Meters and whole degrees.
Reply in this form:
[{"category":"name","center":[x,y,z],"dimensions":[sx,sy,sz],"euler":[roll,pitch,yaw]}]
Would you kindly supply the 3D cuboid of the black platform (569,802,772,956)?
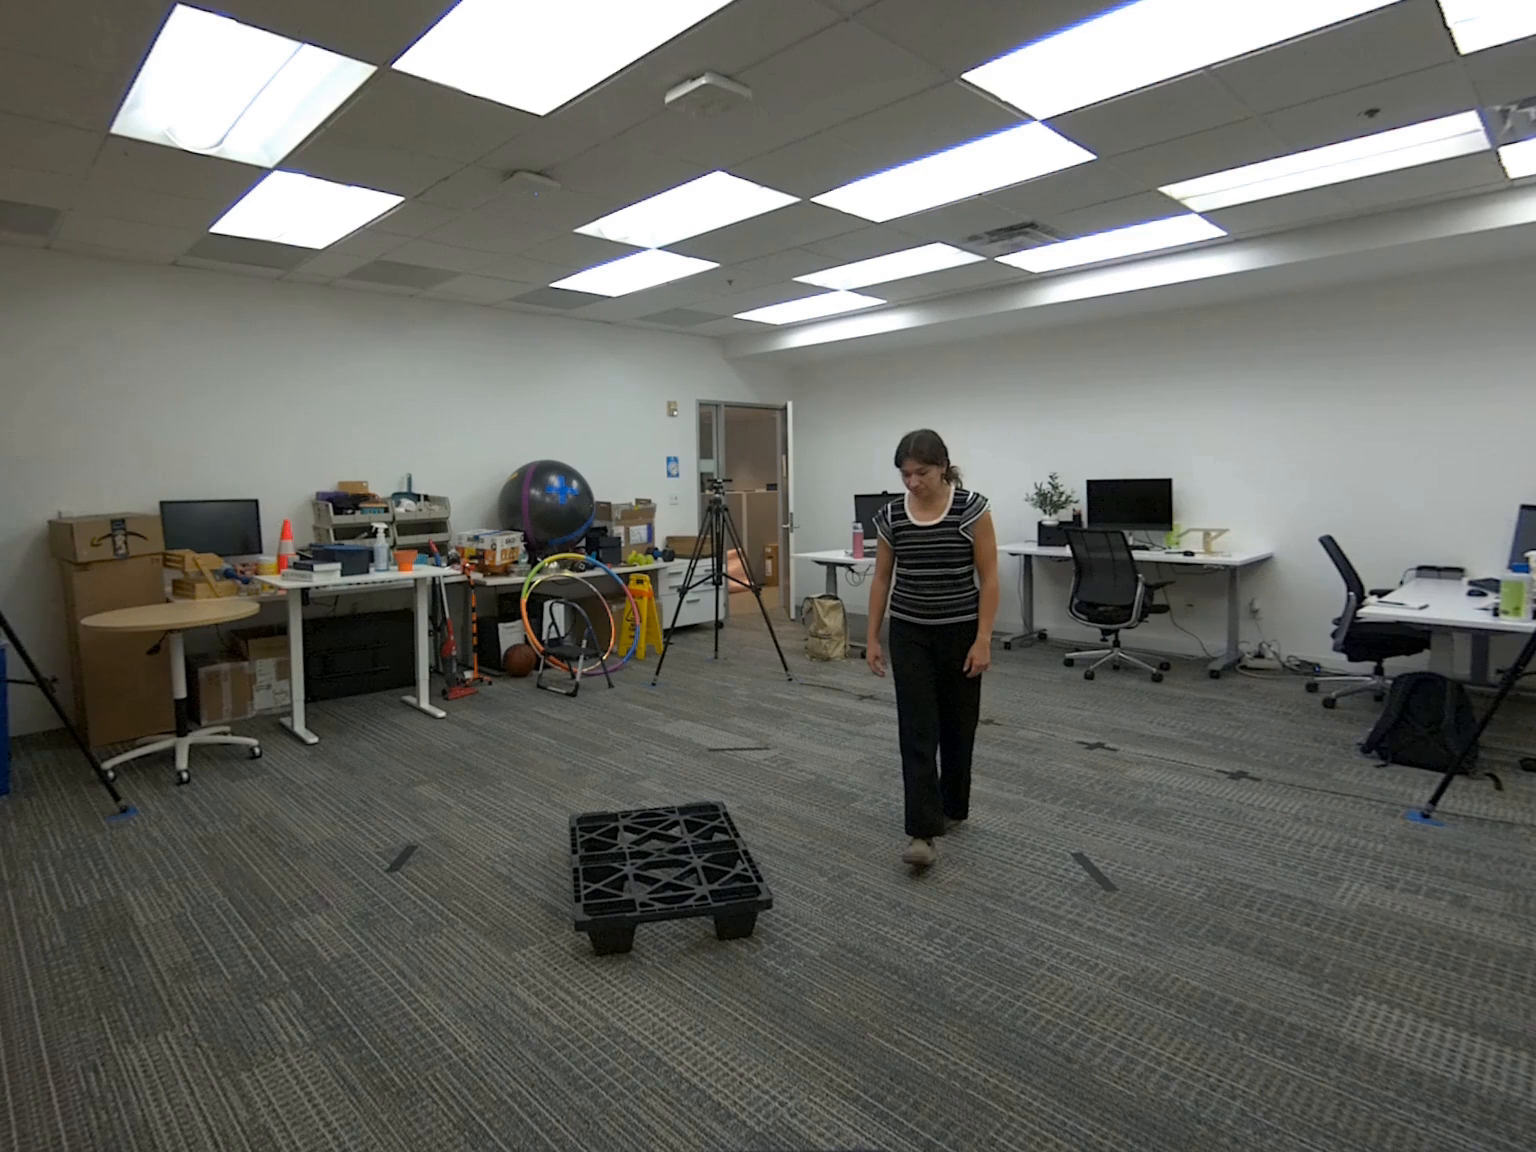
[{"category":"black platform","center":[-0.368,1.004,2.915],"dimensions":[0.598,0.142,0.819],"euler":[-4,7,-13]}]
